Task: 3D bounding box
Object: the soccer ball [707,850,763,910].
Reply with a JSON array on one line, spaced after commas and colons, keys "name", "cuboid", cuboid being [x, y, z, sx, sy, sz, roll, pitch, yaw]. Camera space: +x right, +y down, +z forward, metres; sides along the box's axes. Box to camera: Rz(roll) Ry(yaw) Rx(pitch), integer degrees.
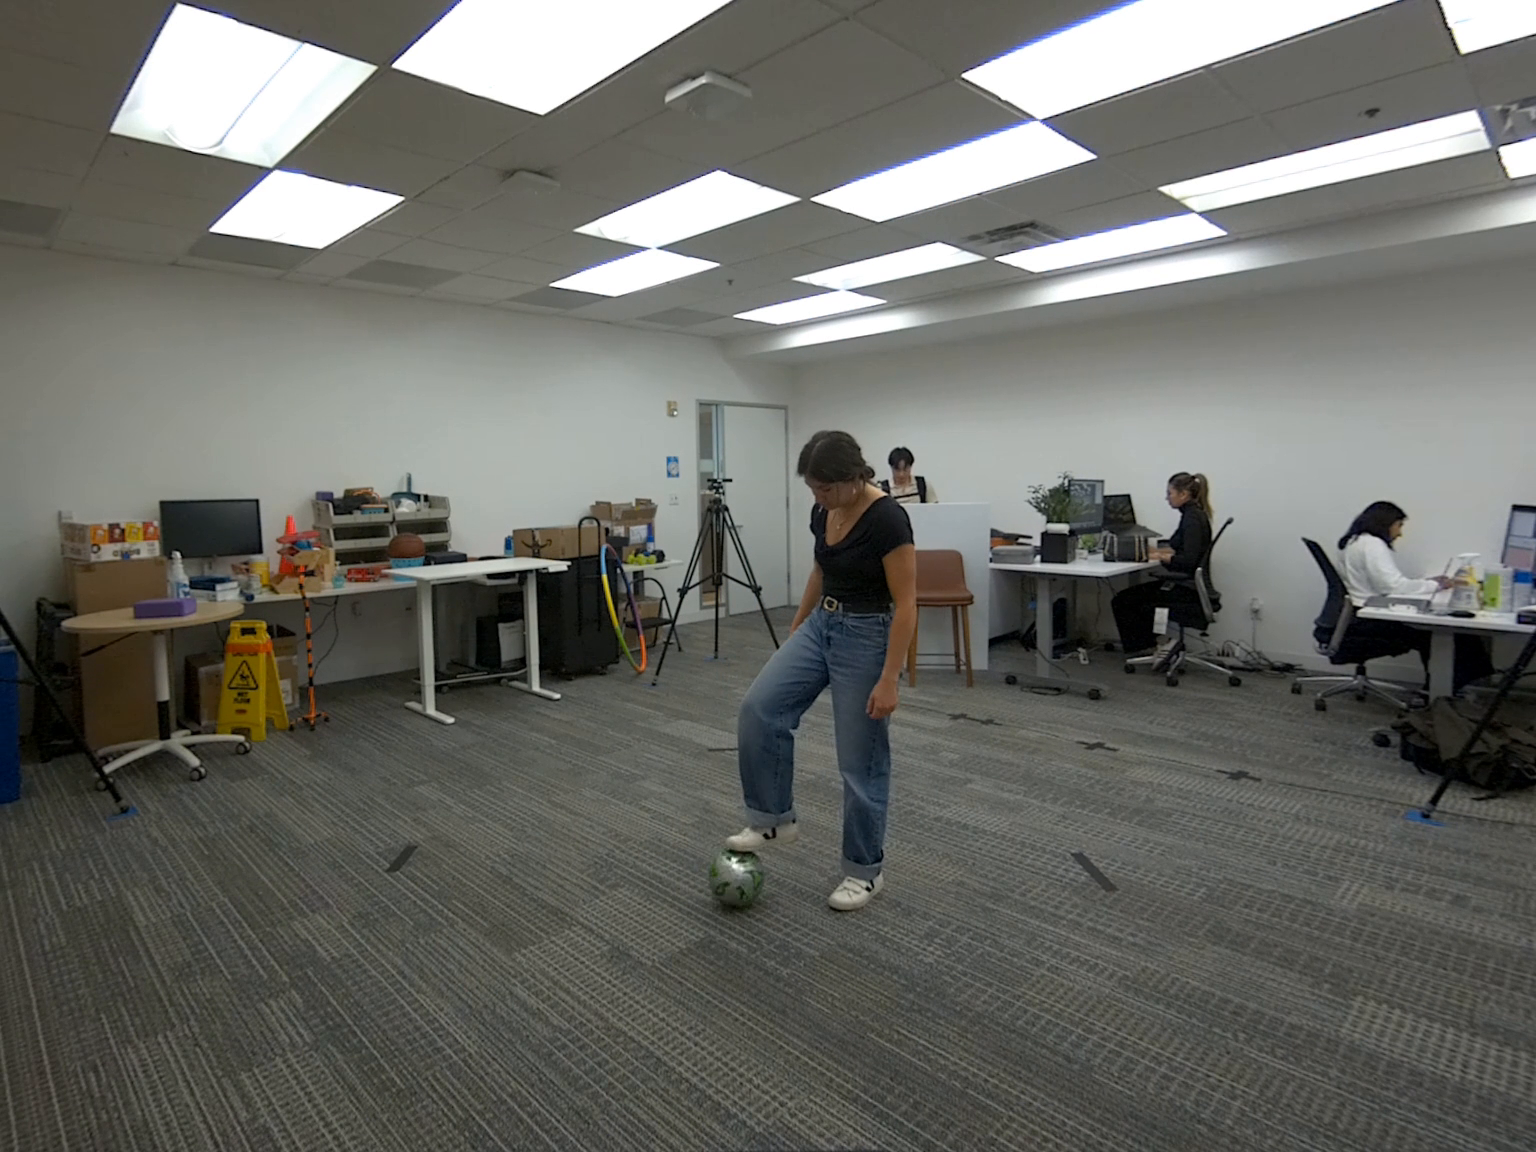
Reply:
[{"name": "soccer ball", "cuboid": [-0.092, 0.987, 2.829, 0.187, 0.187, 0.188, -1, 5, -2]}]
